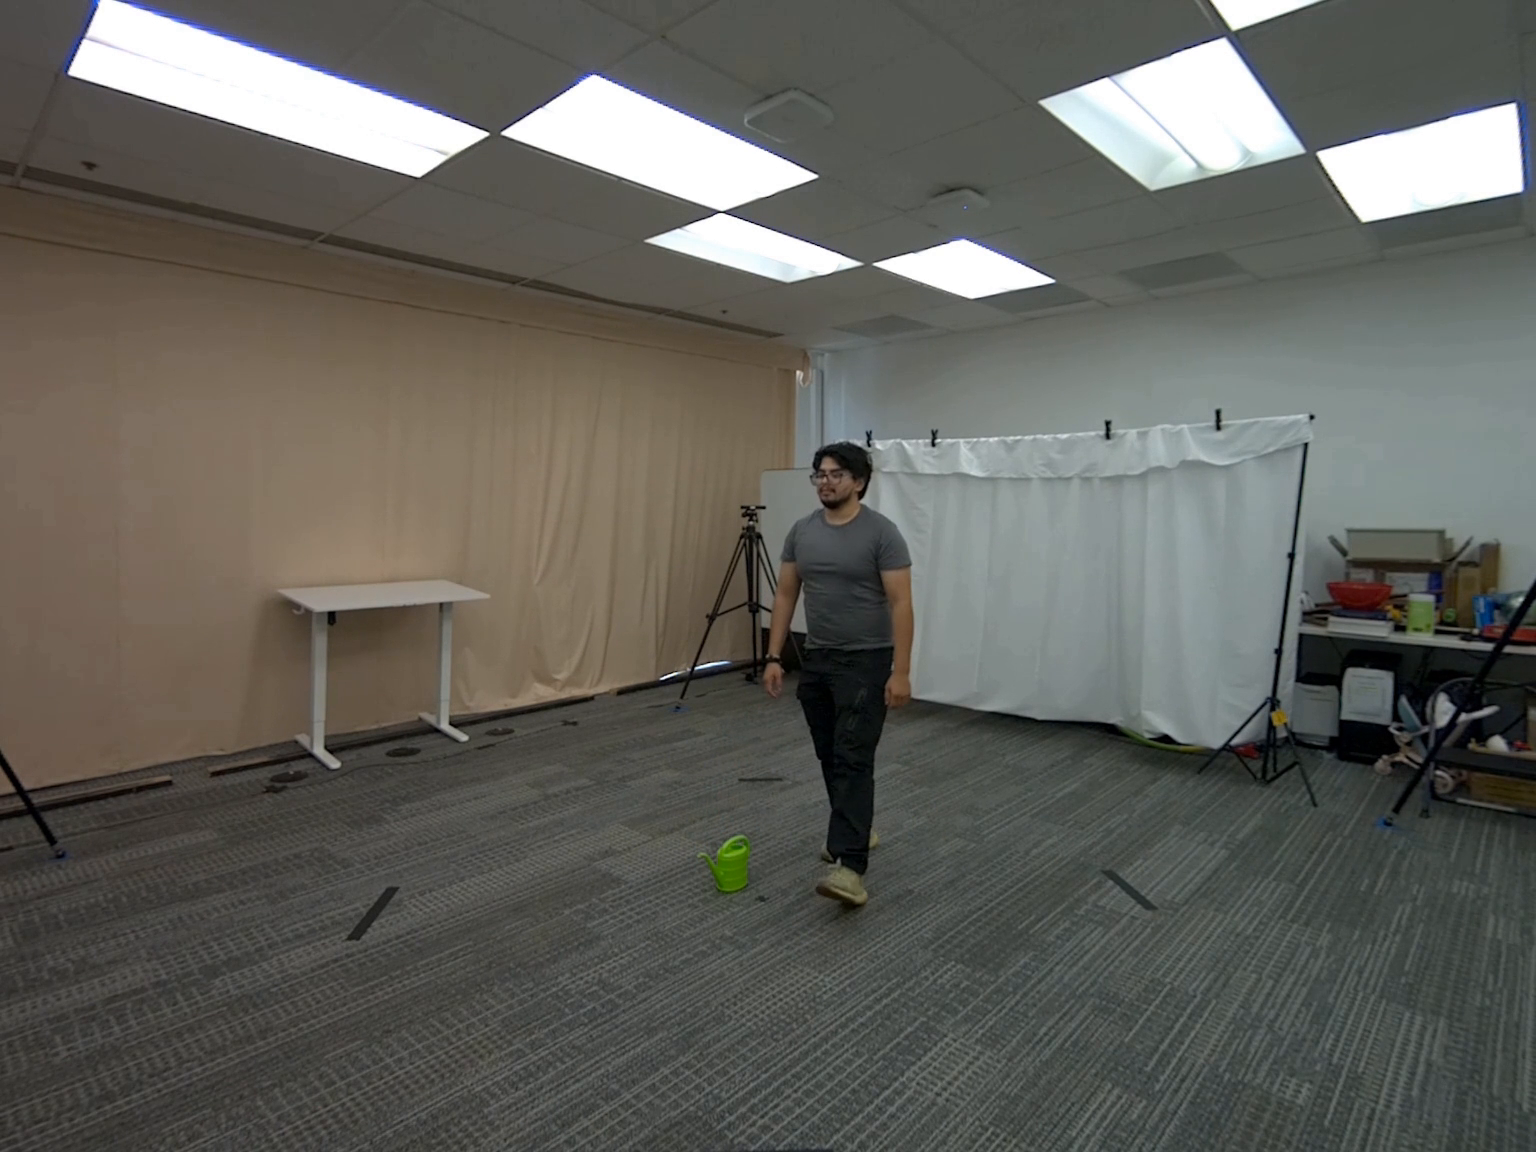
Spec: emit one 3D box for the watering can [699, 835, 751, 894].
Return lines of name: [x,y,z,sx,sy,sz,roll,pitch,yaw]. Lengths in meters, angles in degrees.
watering can: [-0.169,1.050,3.060,0.270,0.177,0.101,-3,1,-32]
